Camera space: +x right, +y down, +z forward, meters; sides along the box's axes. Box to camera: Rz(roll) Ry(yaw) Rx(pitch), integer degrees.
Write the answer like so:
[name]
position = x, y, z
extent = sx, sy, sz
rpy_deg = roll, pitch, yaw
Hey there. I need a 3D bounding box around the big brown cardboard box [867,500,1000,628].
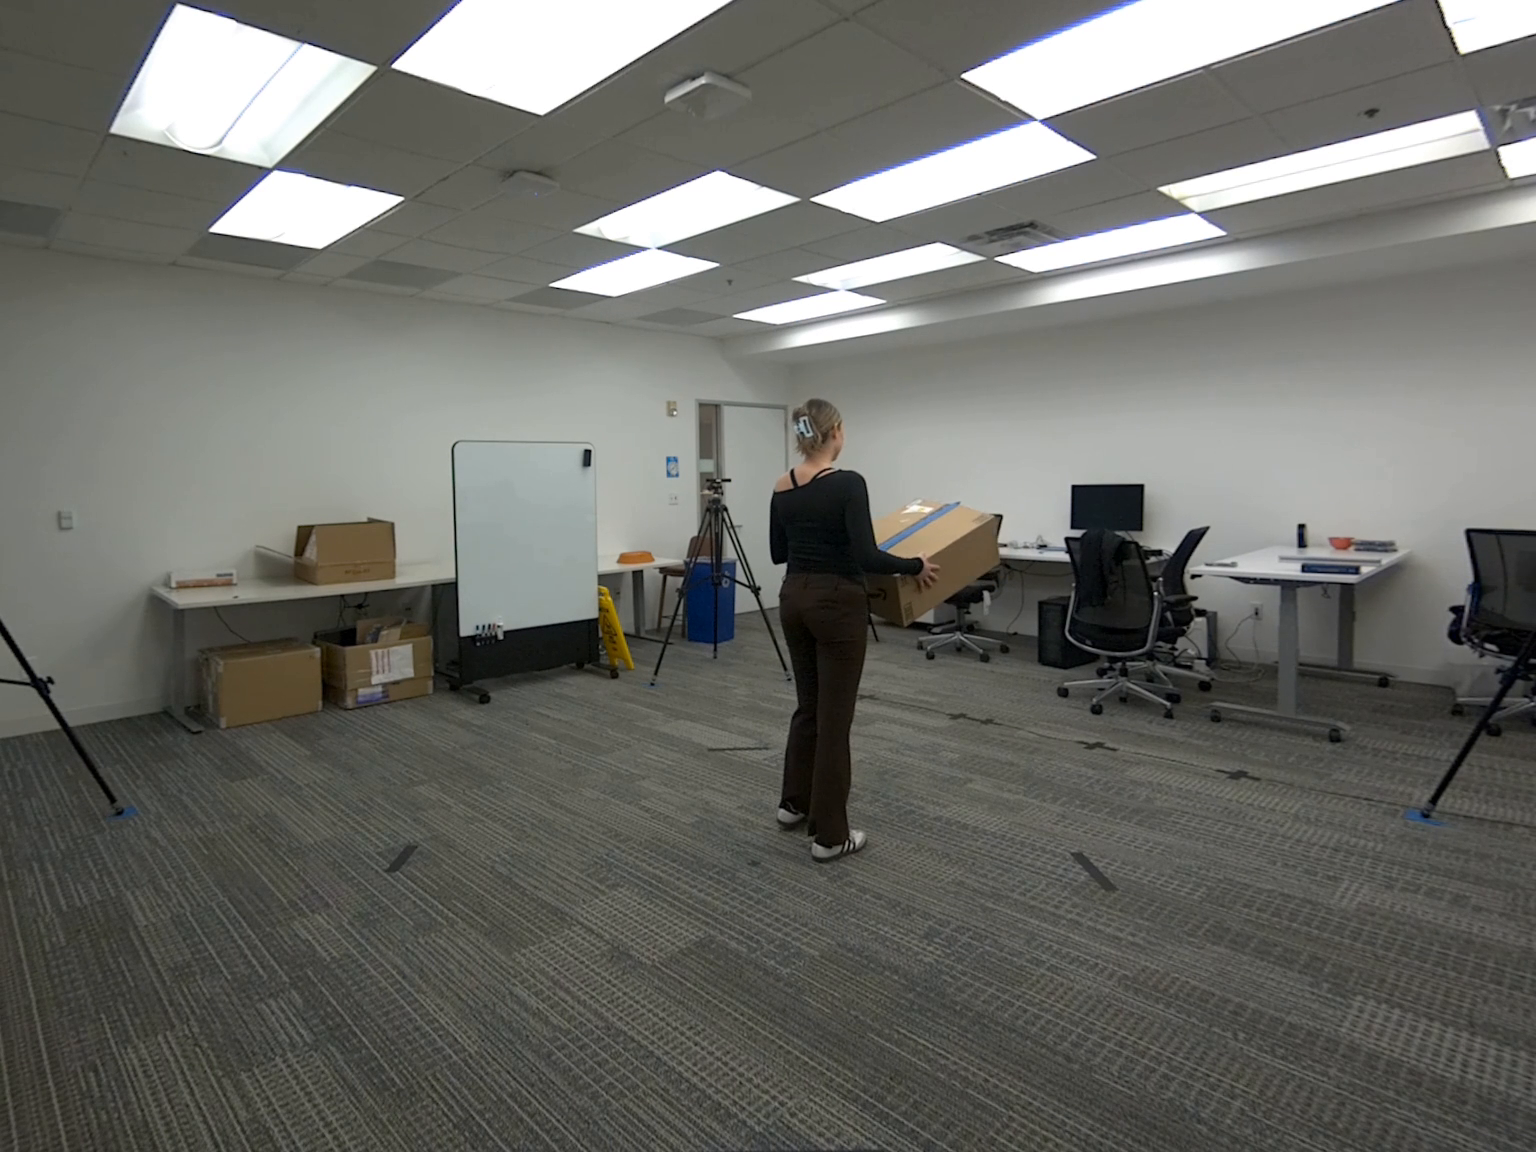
[big brown cardboard box]
position = 0.570, -0.074, 3.417
extent = 0.583, 0.227, 0.432
rpy_deg = -30, 30, -28
